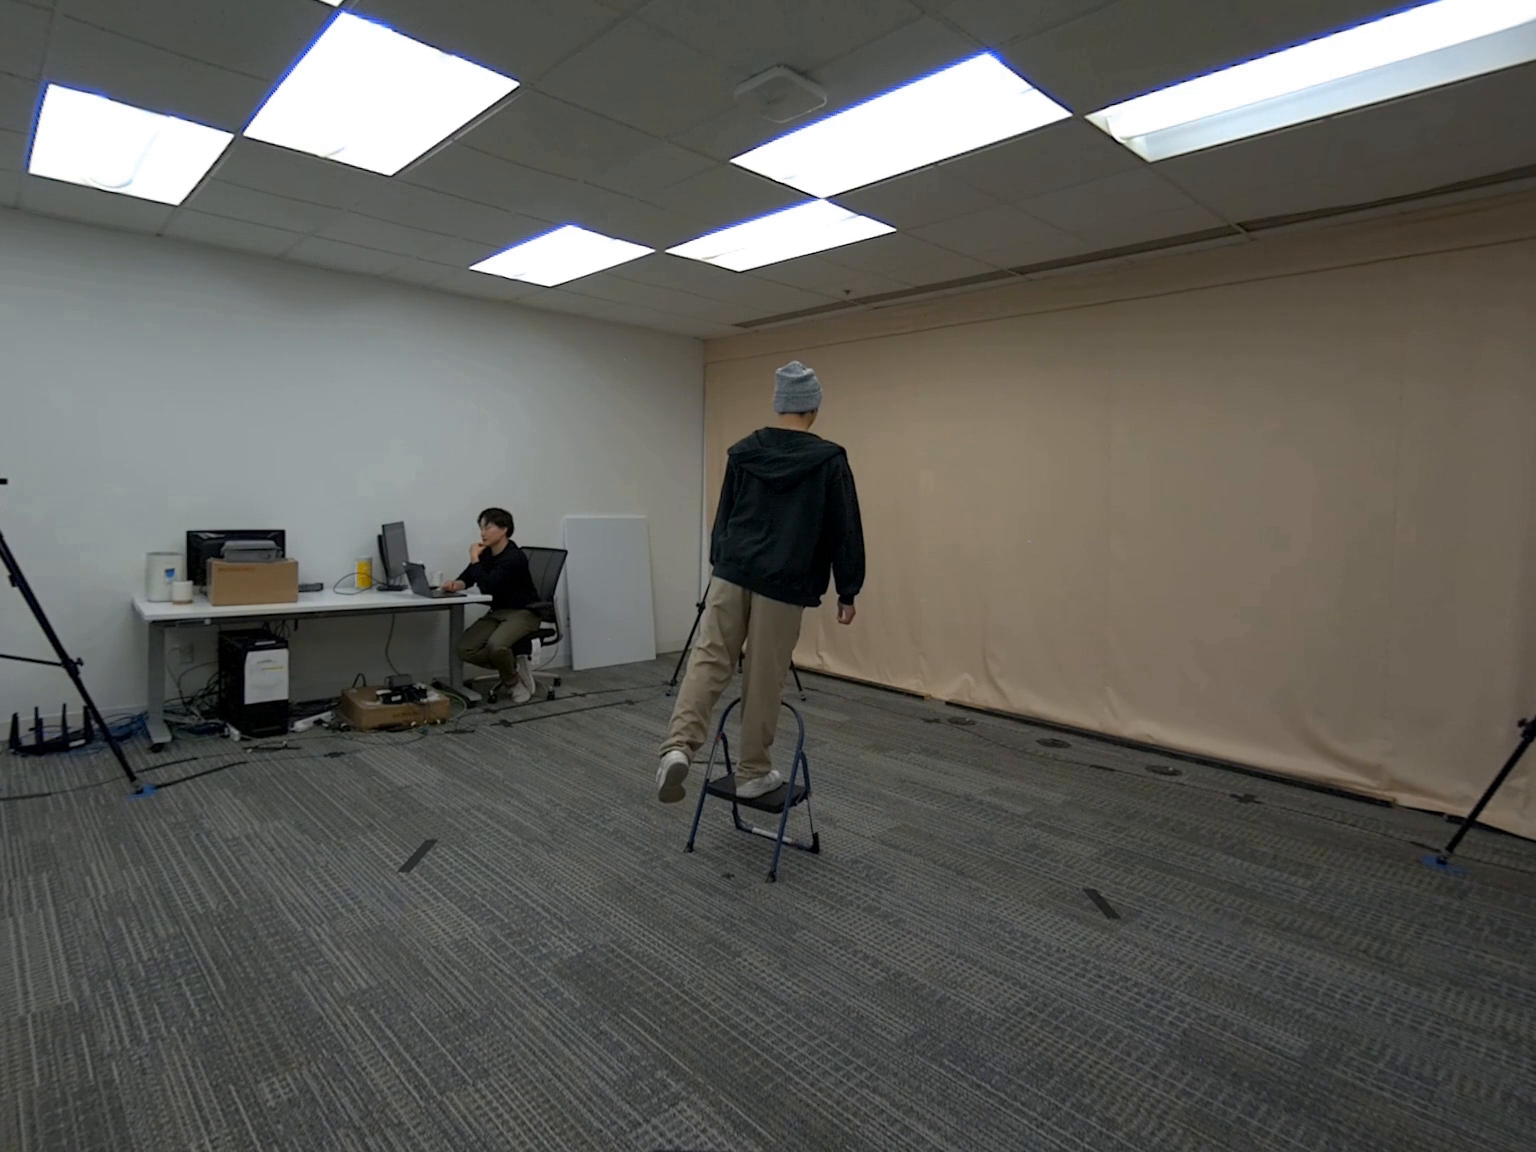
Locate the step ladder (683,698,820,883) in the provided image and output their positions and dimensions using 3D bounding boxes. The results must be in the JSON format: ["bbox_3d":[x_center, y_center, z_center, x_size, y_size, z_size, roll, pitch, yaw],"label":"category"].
[{"bbox_3d":[-0.057,0.790,3.308,0.441,0.605,0.341,4,4,36],"label":"step ladder"}]
